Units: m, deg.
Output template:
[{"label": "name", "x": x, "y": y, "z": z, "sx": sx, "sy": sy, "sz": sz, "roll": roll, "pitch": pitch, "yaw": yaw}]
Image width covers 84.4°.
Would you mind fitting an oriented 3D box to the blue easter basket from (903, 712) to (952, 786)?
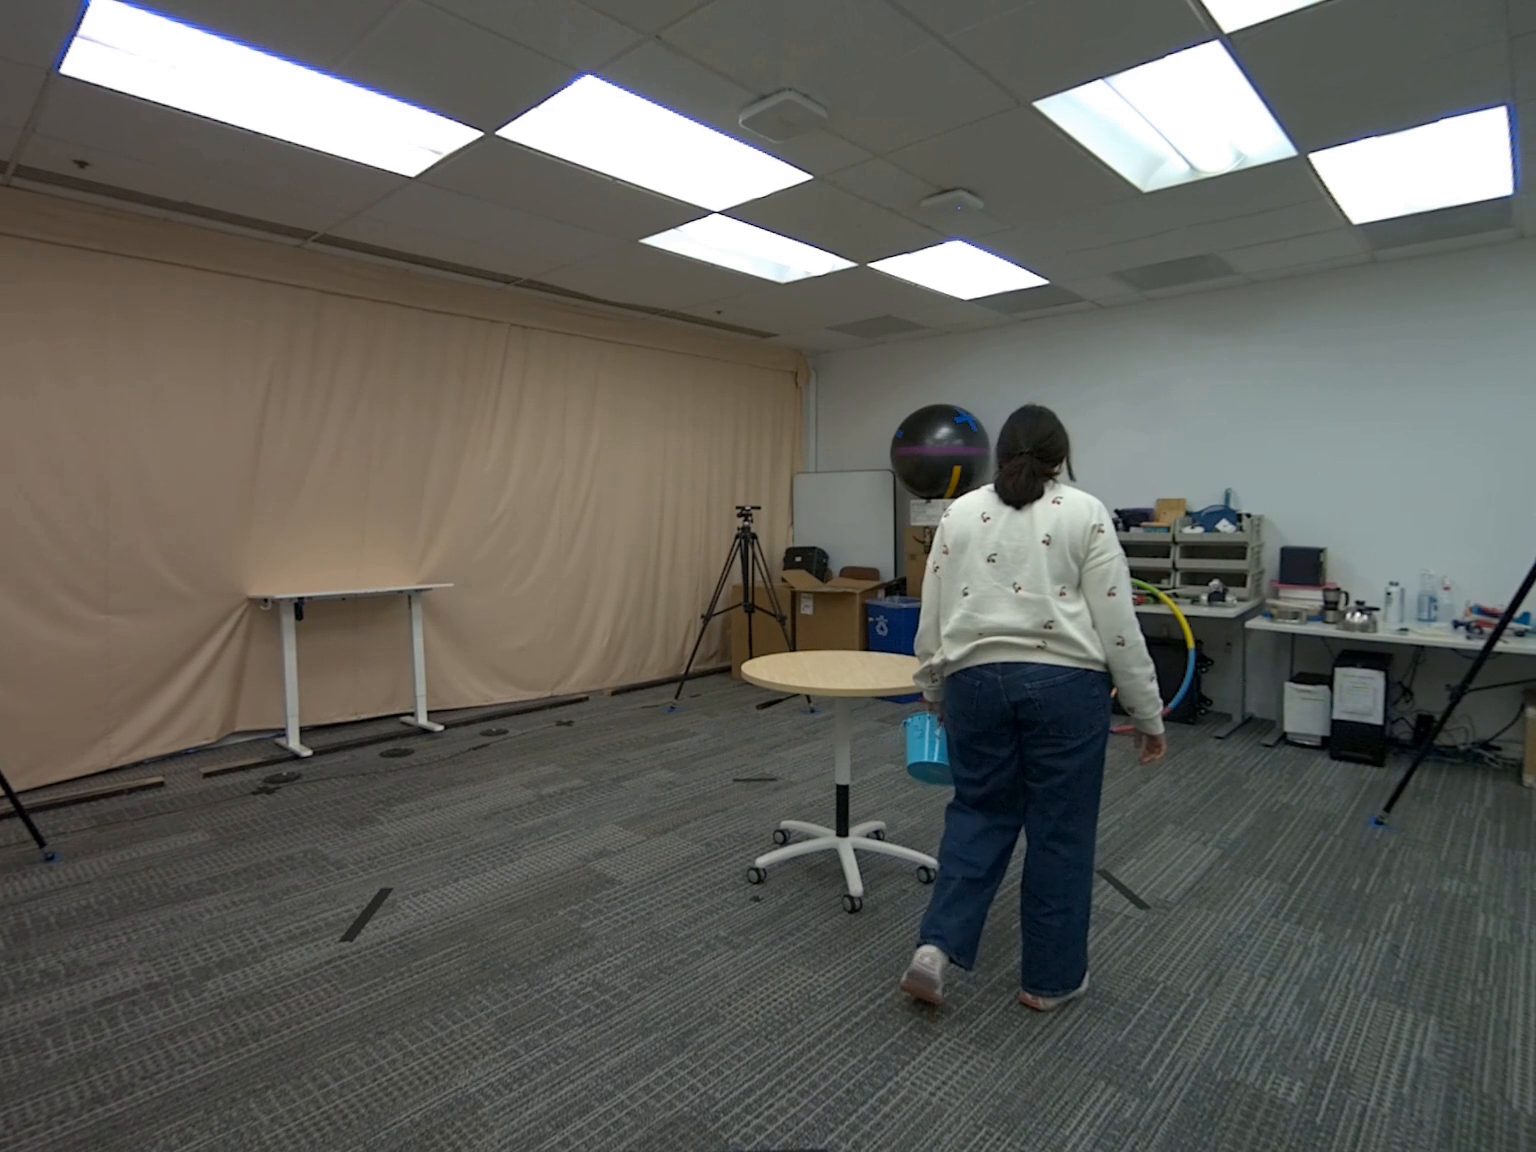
[{"label": "blue easter basket", "x": 0.537, "y": 0.554, "z": 2.644, "sx": 0.246, "sy": 0.157, "sz": 0.239, "roll": 14, "pitch": -32, "yaw": 7}]
